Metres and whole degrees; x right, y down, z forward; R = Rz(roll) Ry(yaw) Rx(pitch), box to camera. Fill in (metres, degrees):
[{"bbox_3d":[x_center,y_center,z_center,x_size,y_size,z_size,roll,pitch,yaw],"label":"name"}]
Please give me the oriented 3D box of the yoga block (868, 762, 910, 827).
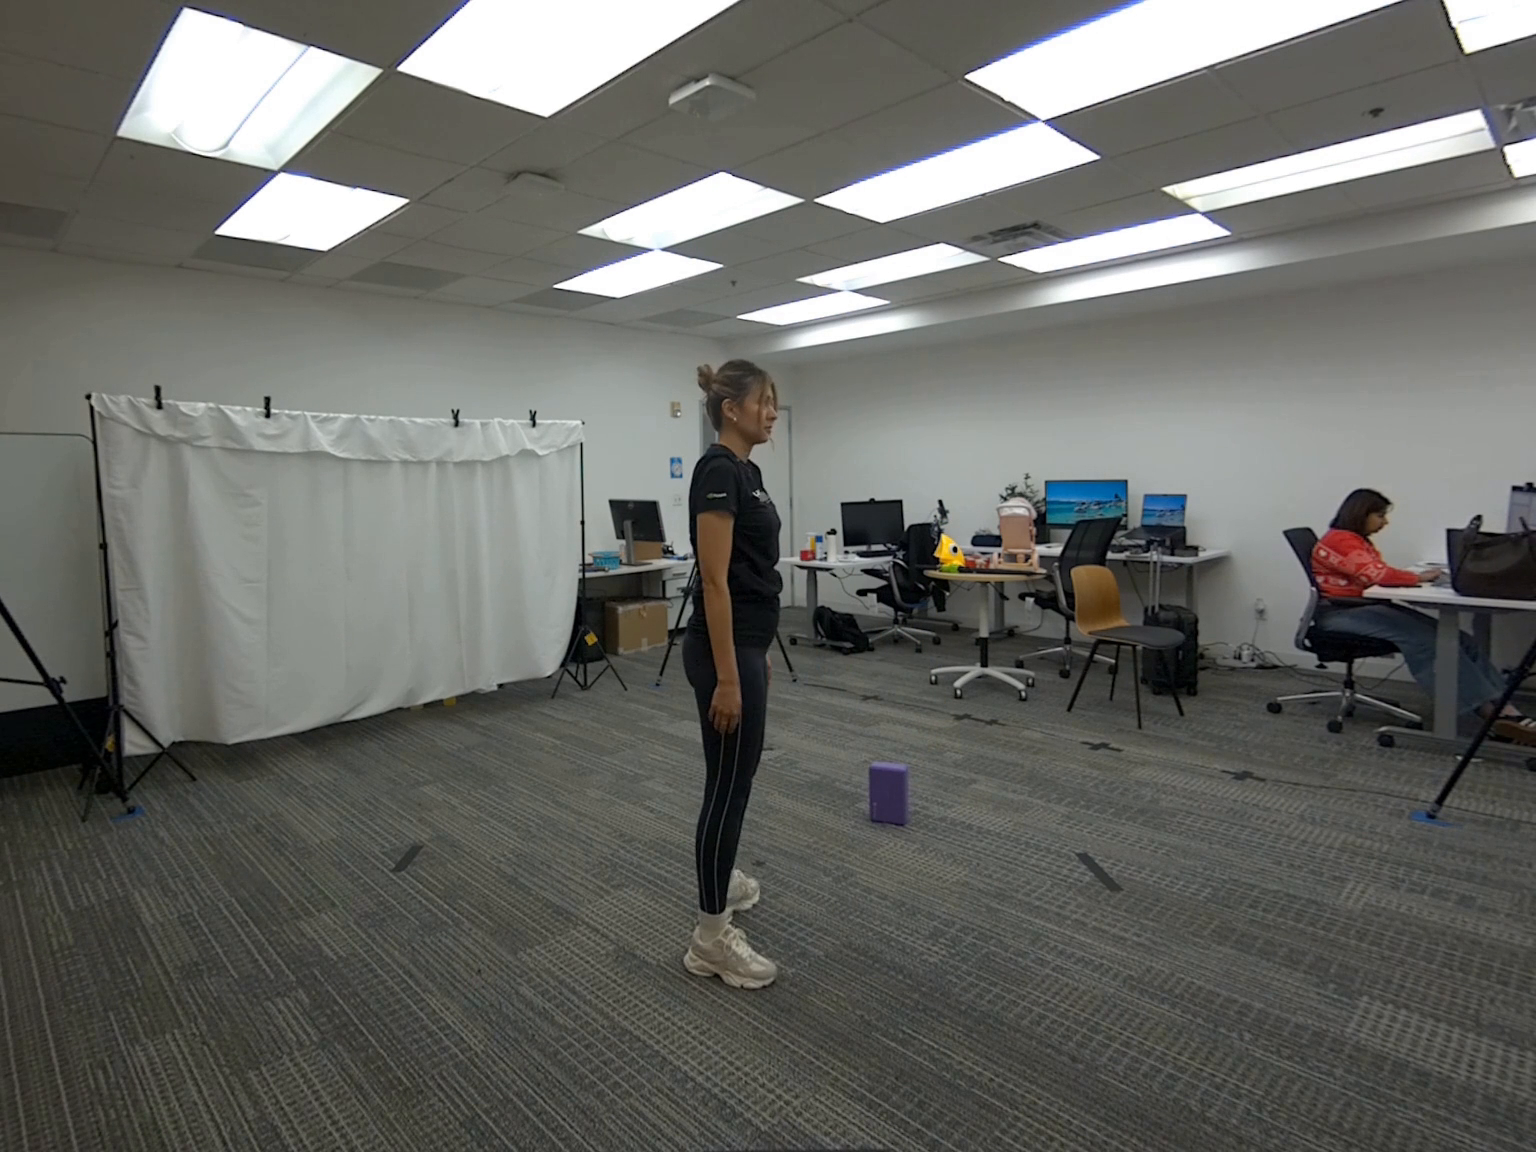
[{"bbox_3d":[0.499,0.883,3.474,0.152,0.229,0.075,0,2,22],"label":"yoga block"}]
